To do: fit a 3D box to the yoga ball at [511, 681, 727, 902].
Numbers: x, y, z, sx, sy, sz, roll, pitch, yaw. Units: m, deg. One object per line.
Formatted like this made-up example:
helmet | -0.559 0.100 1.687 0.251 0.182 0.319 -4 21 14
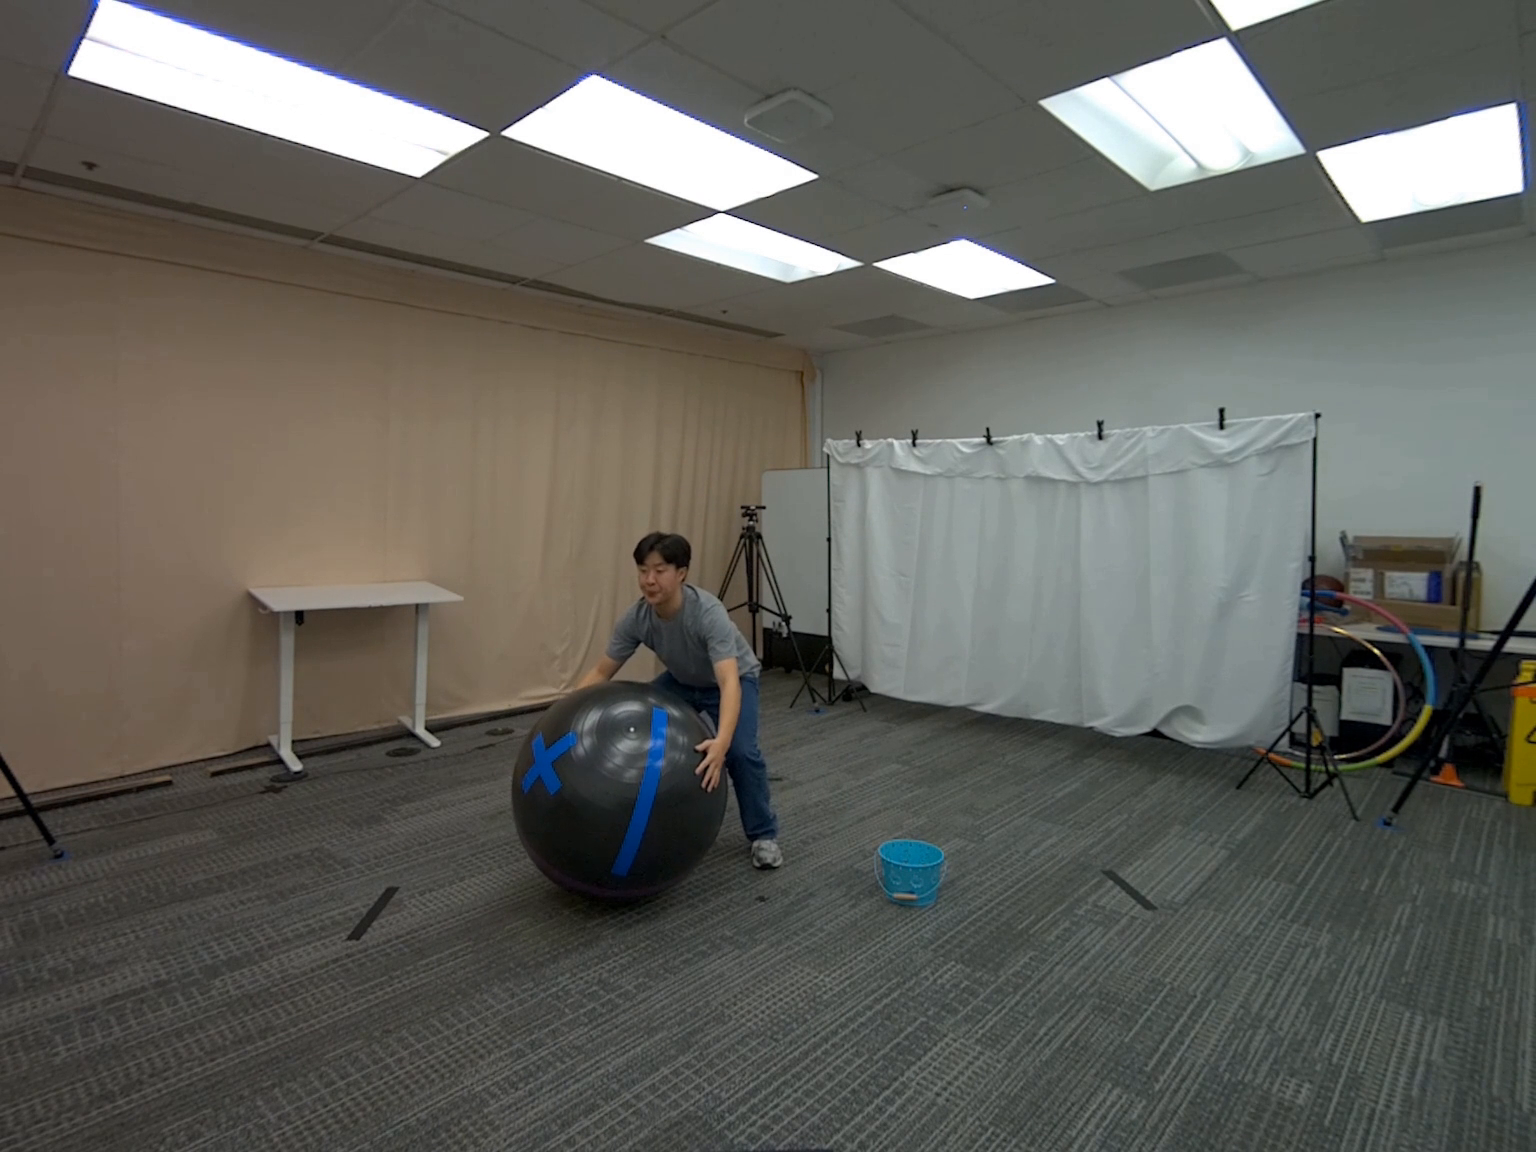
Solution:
yoga ball | -0.530 0.761 2.991 0.757 0.756 0.760 0 4 -2
